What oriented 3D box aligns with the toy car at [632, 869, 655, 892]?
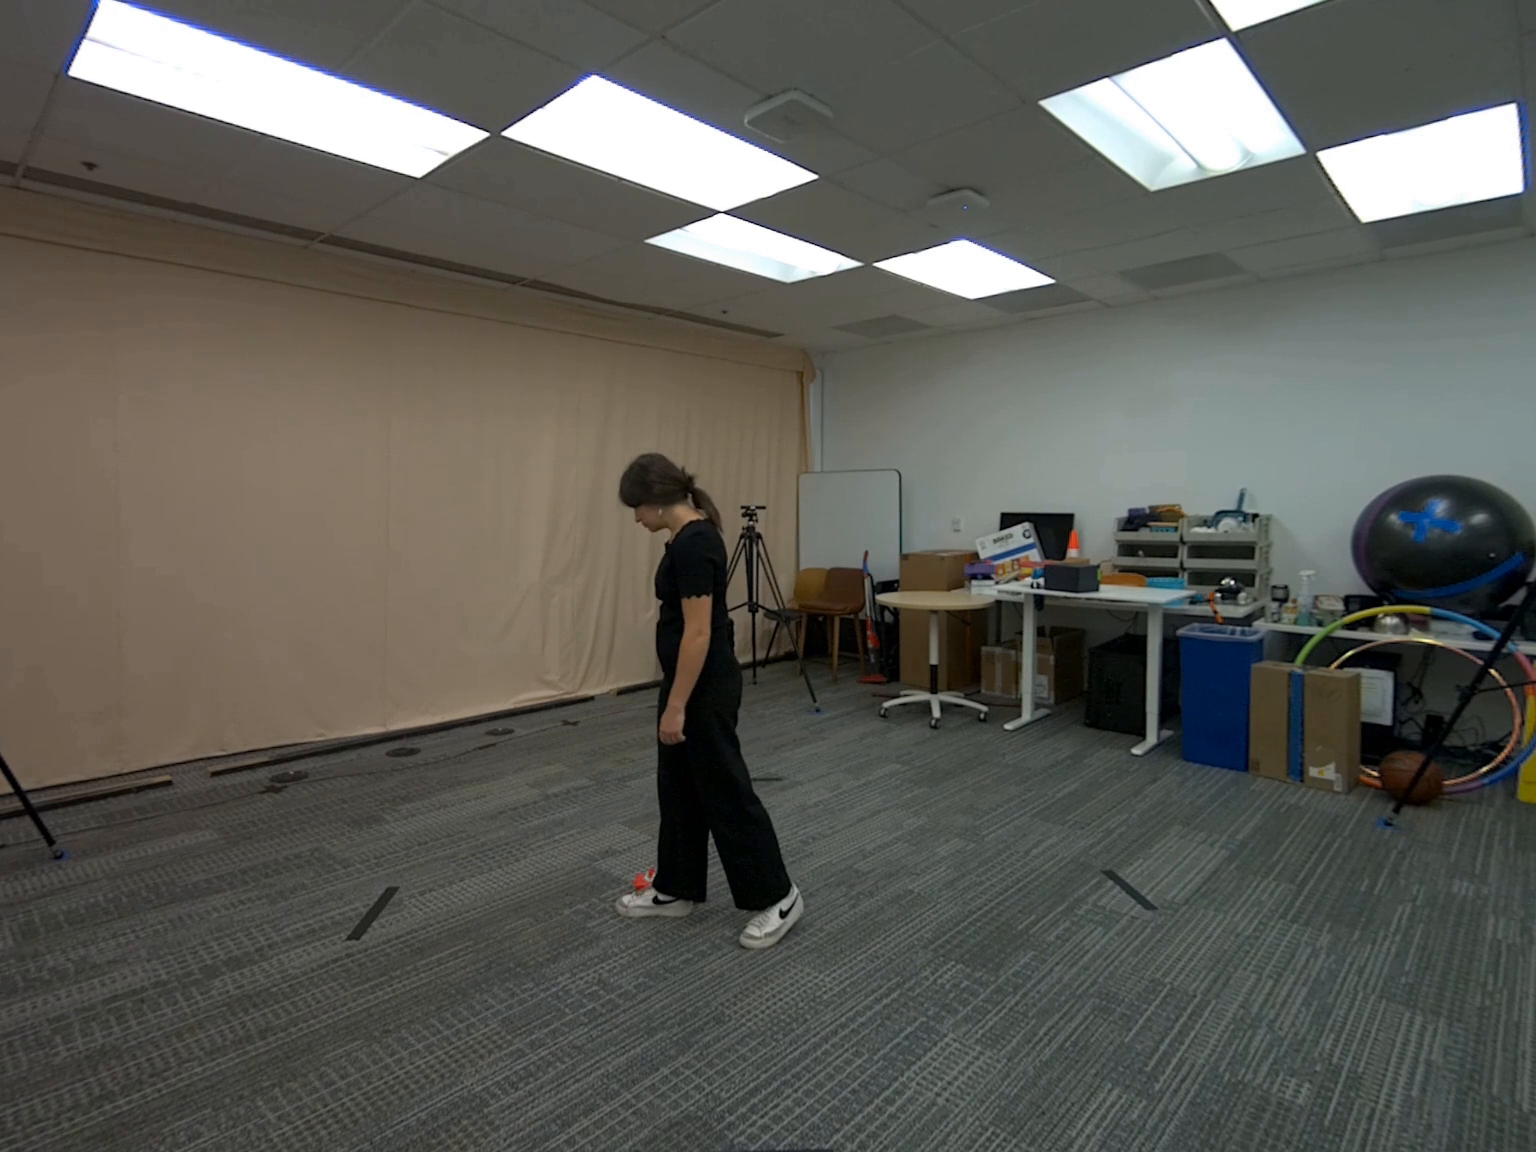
[{"bbox_3d":[-0.361,1.110,3.015,0.257,0.083,0.129,11,5,8],"label":"toy car"}]
